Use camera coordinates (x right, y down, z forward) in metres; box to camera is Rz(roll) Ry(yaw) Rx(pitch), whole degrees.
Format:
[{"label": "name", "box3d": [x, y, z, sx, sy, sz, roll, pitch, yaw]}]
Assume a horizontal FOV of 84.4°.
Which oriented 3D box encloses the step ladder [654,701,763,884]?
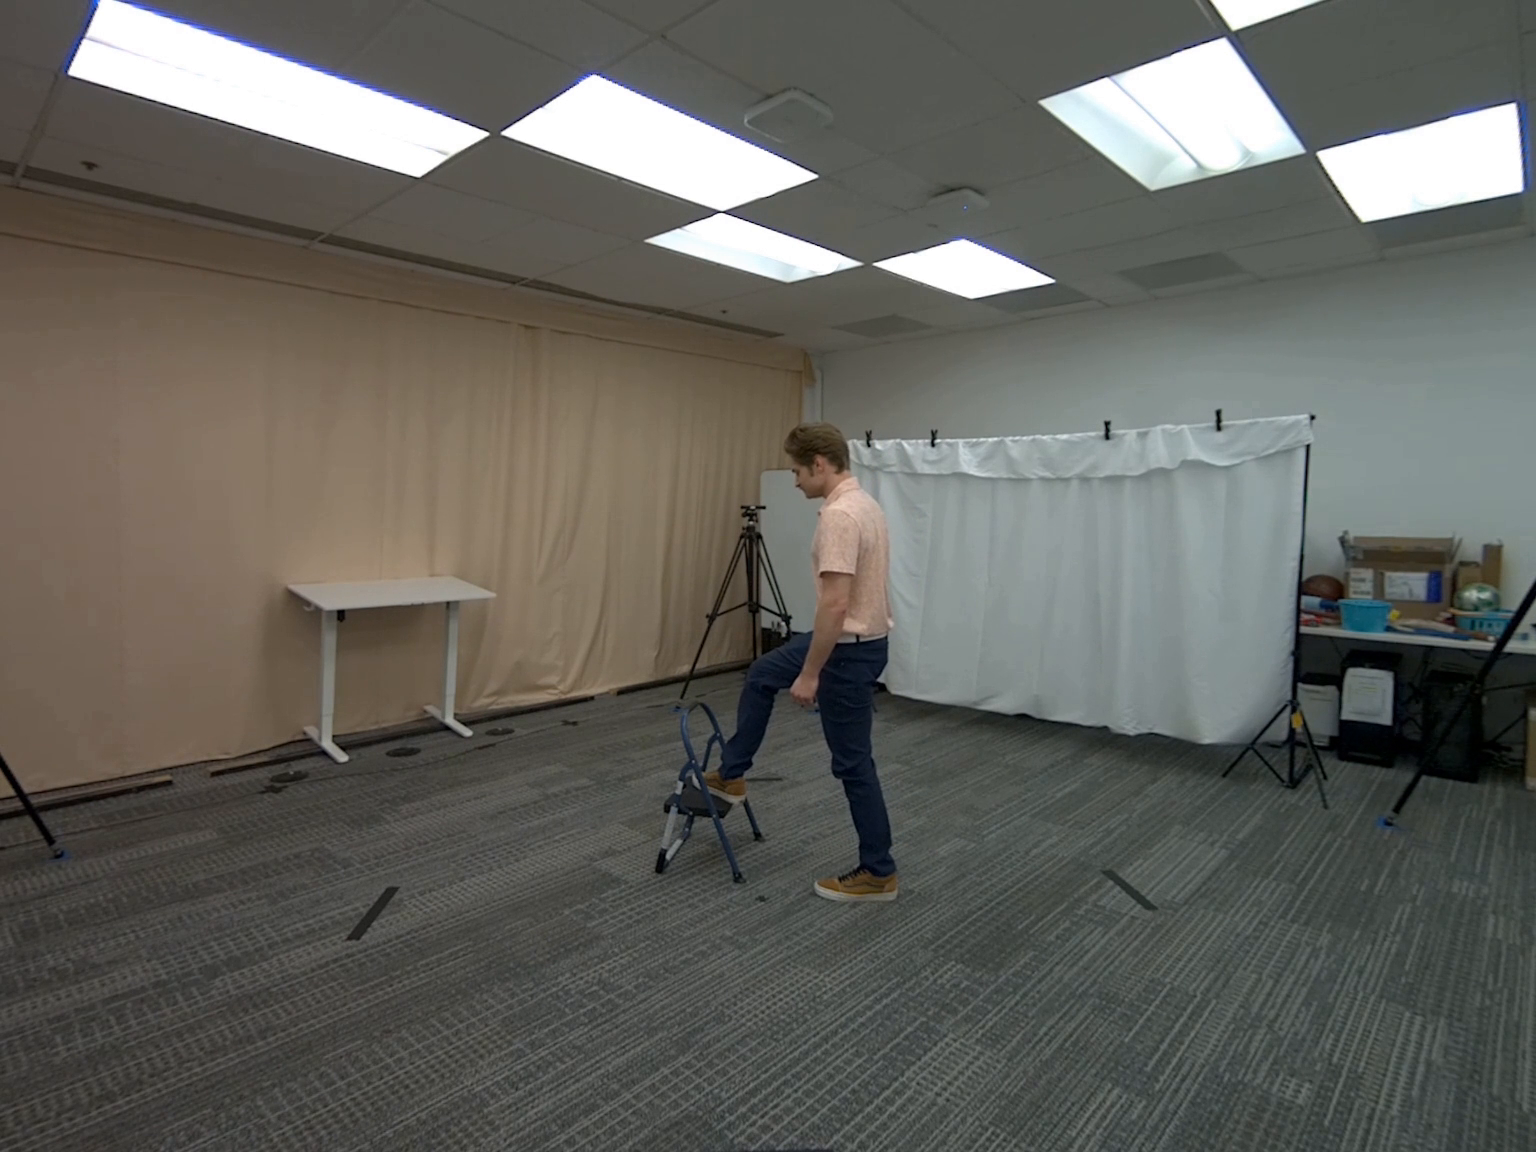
[{"label": "step ladder", "box3d": [-0.228, 0.814, 3.338, 0.354, 0.605, 0.426, 0, 4, 12]}]
